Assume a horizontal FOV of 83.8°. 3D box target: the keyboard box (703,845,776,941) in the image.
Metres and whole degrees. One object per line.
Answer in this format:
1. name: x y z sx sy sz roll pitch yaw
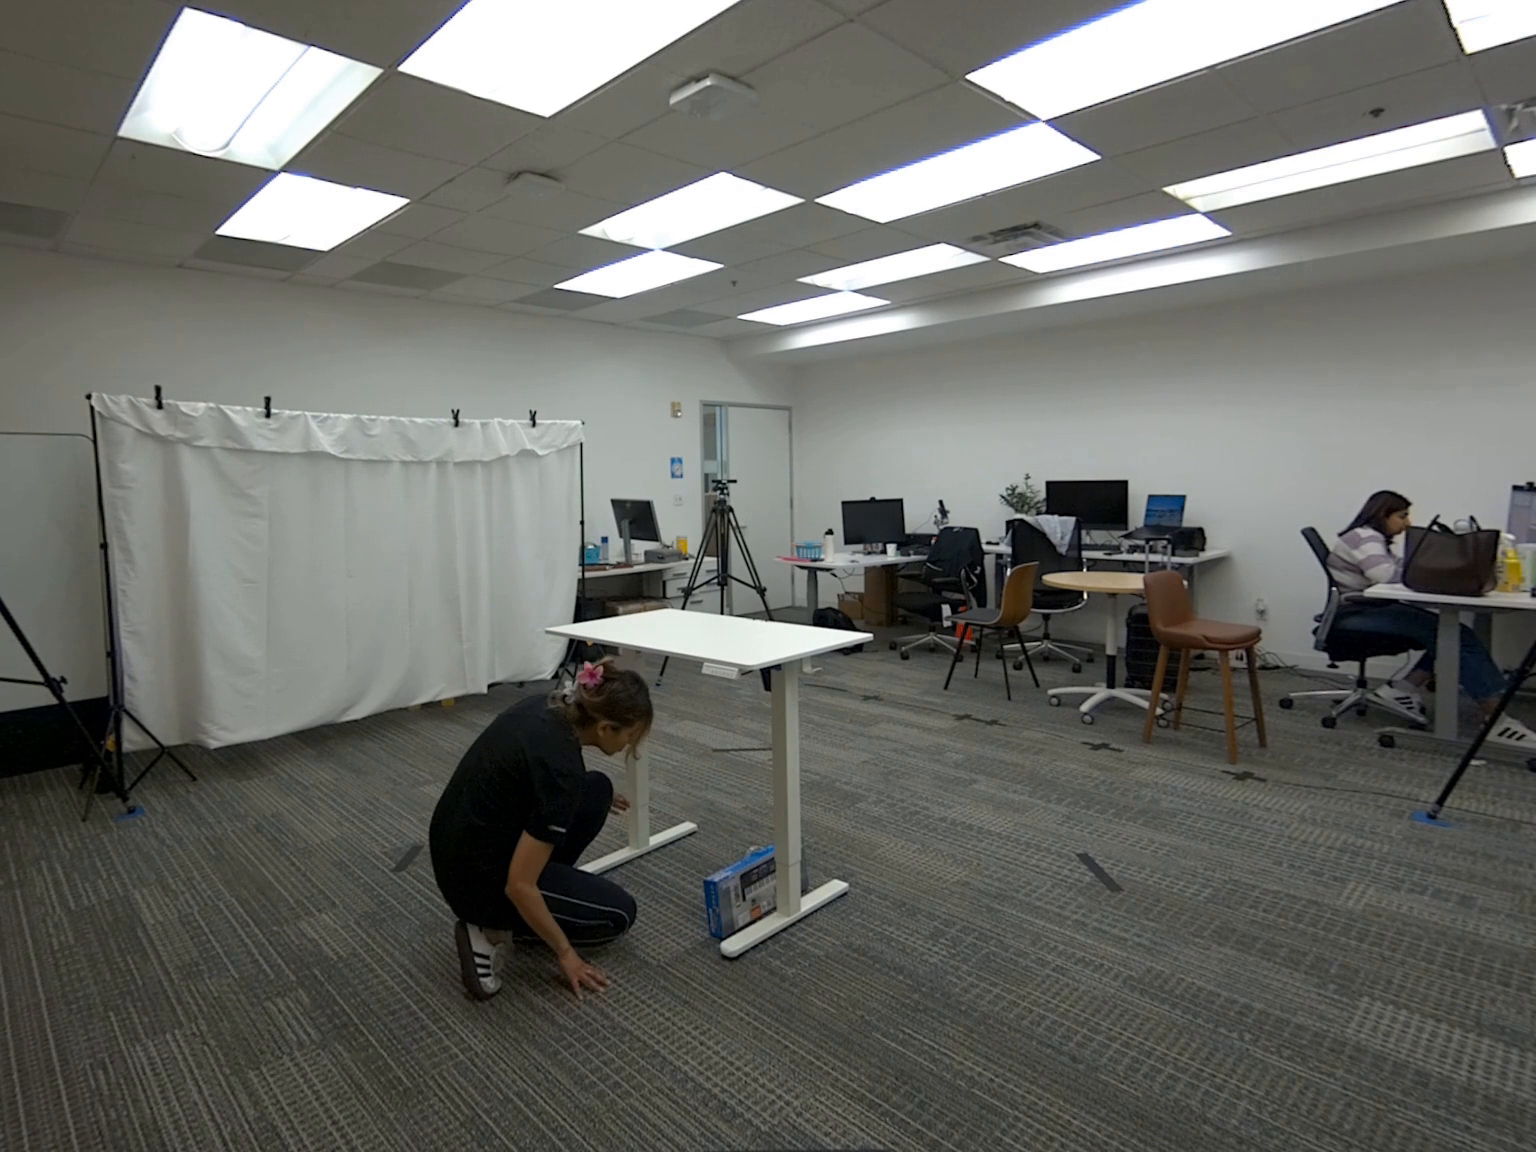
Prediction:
1. keyboard box: -0.020 0.998 2.769 0.060 0.176 0.426 -8 0 42
